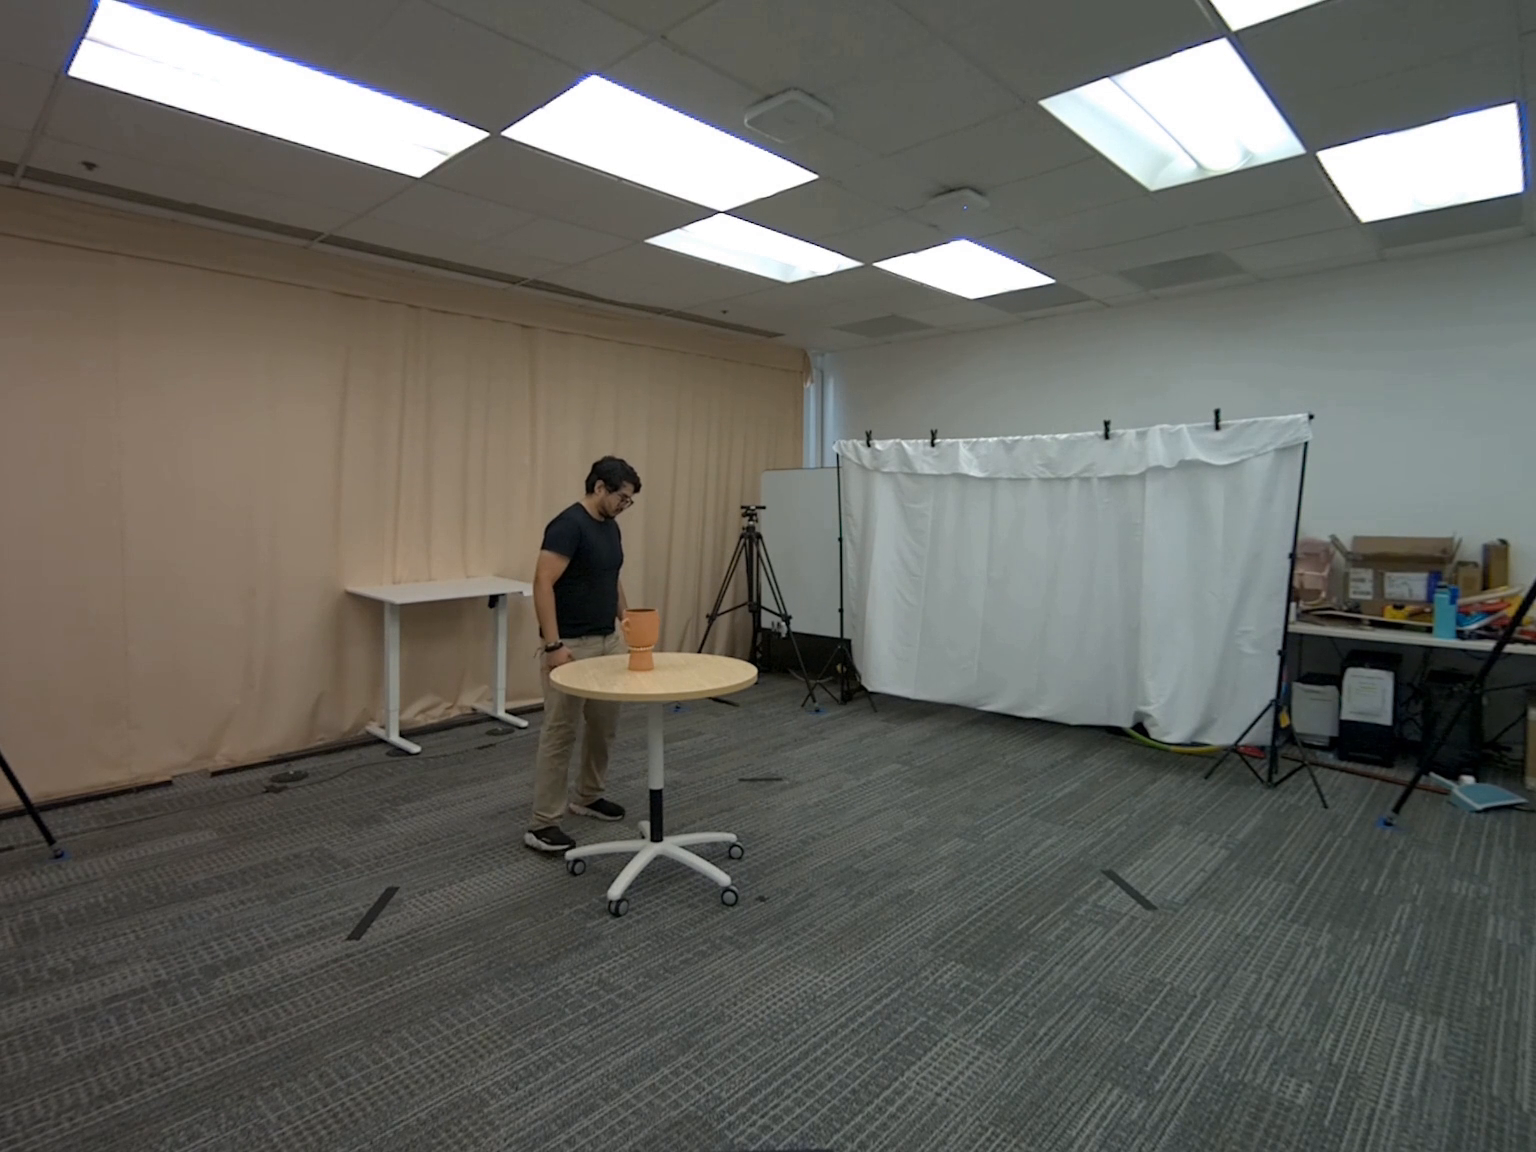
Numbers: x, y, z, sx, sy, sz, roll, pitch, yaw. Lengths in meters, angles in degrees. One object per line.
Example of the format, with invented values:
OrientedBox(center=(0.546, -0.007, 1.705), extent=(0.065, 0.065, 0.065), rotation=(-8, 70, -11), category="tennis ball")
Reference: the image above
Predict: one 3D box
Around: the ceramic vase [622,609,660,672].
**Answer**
OrientedBox(center=(-0.480, 0.242, 3.163), extent=(0.157, 0.219, 0.136), rotation=(-1, 3, -12), category="ceramic vase")
